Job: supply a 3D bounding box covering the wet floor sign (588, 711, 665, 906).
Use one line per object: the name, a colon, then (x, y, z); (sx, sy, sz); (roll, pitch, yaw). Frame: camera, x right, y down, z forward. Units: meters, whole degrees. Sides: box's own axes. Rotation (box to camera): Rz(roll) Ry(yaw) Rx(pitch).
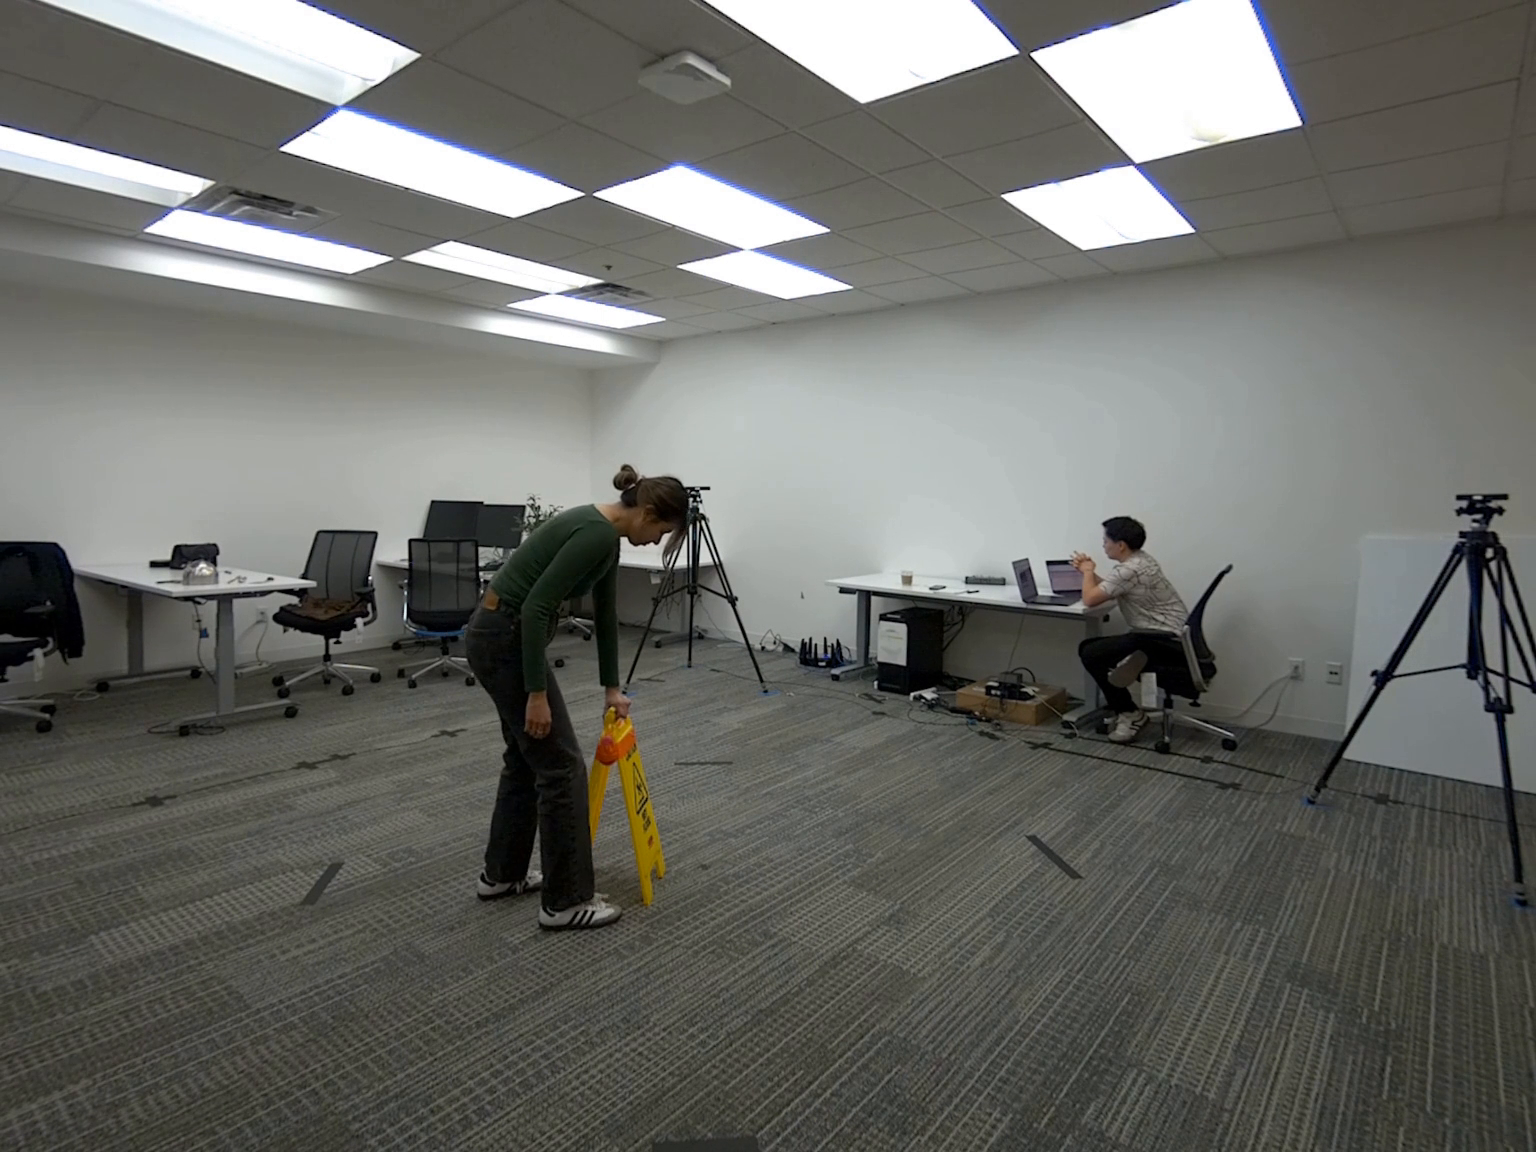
wet floor sign: (-0.533, 0.755, 2.952); (0.292, 0.643, 0.282); (1, 5, 5)
